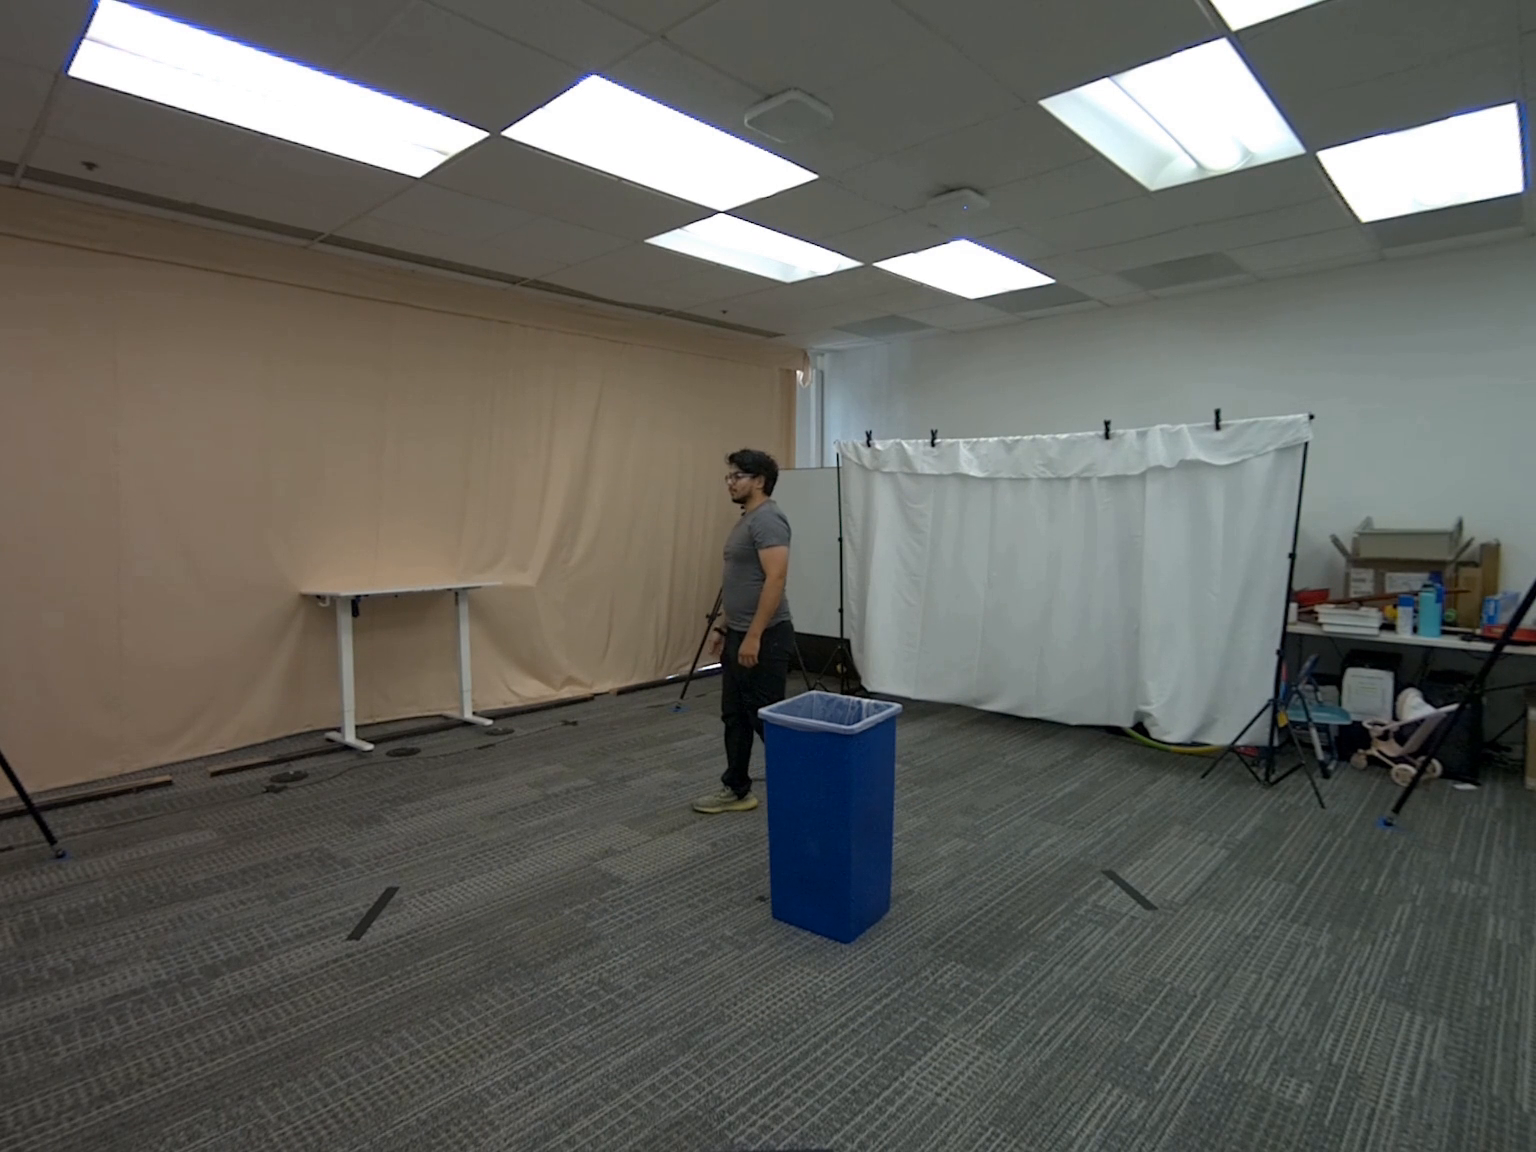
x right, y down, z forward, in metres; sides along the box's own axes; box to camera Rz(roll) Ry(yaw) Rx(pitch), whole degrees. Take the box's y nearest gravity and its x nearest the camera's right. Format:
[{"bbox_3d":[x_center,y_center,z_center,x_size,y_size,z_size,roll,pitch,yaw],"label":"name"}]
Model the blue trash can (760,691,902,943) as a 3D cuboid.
[{"bbox_3d":[0.218,0.797,2.844,0.390,0.712,0.363,2,4,37],"label":"blue trash can"}]
